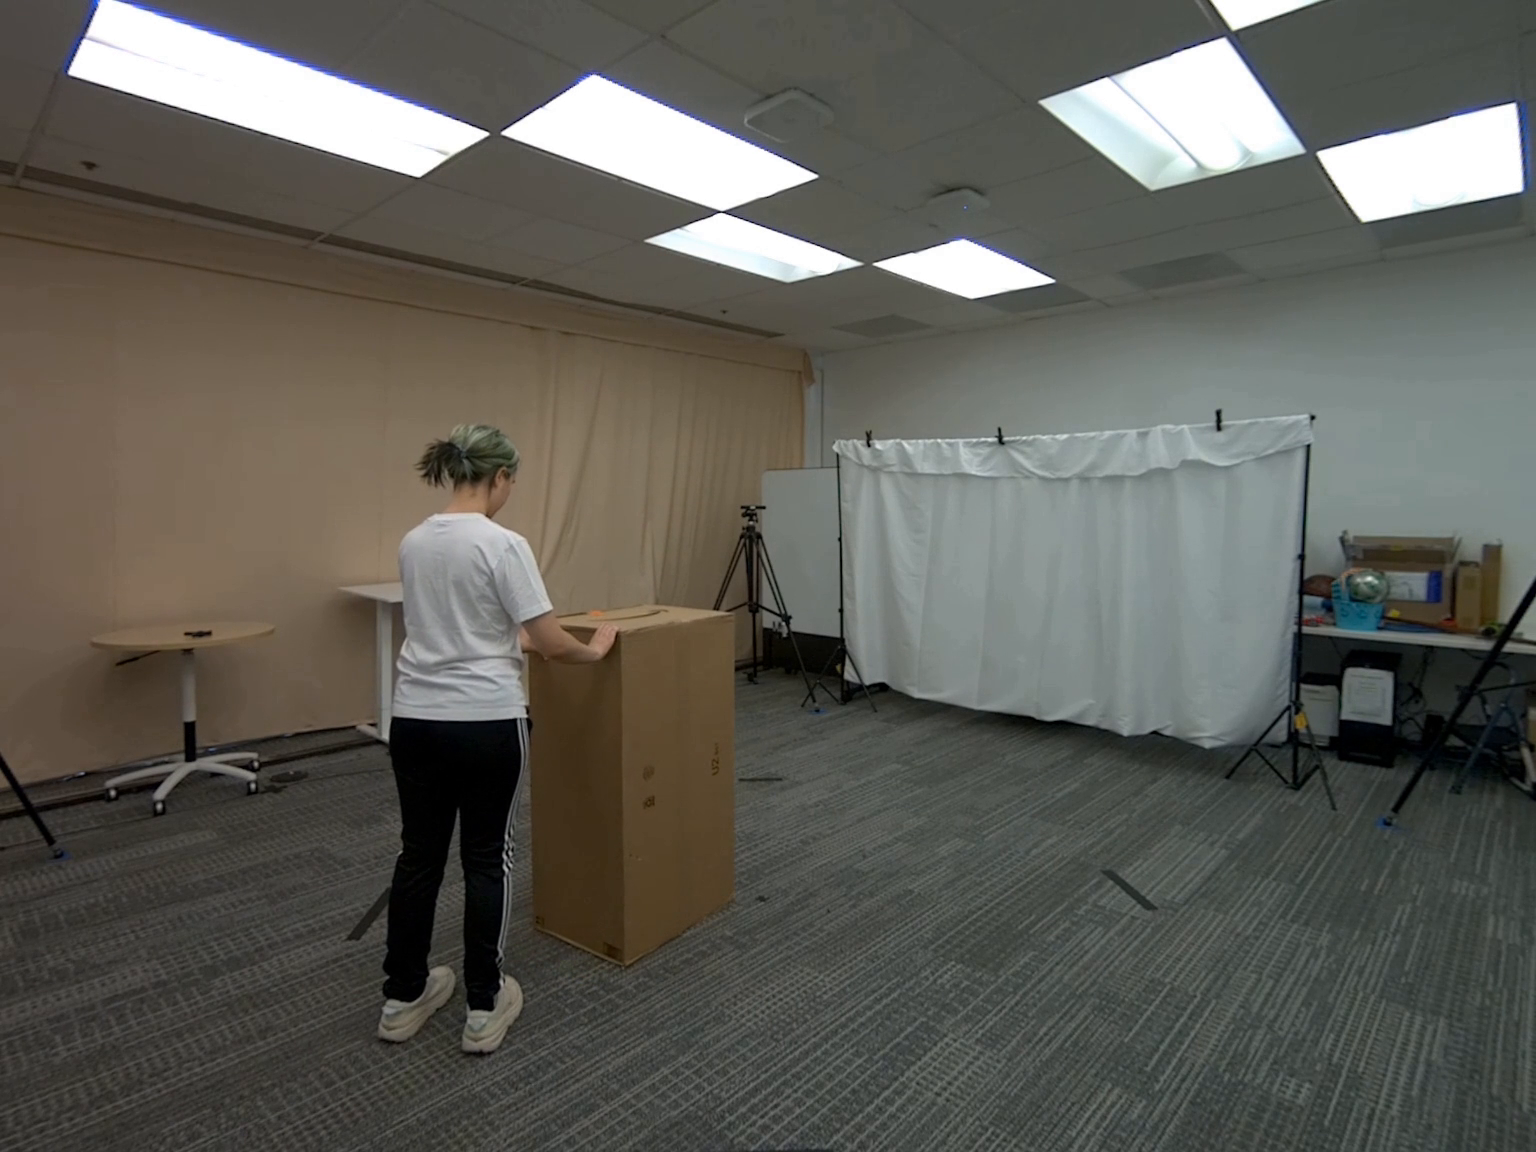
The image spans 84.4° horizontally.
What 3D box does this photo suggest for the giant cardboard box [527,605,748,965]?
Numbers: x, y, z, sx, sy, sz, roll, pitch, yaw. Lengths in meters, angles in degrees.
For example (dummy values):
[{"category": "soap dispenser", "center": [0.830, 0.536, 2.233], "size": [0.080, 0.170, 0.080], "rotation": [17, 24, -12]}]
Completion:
[{"category": "giant cardboard box", "center": [-0.453, 0.649, 2.869], "size": [0.461, 1.025, 0.567], "rotation": [3, 4, 35]}]
